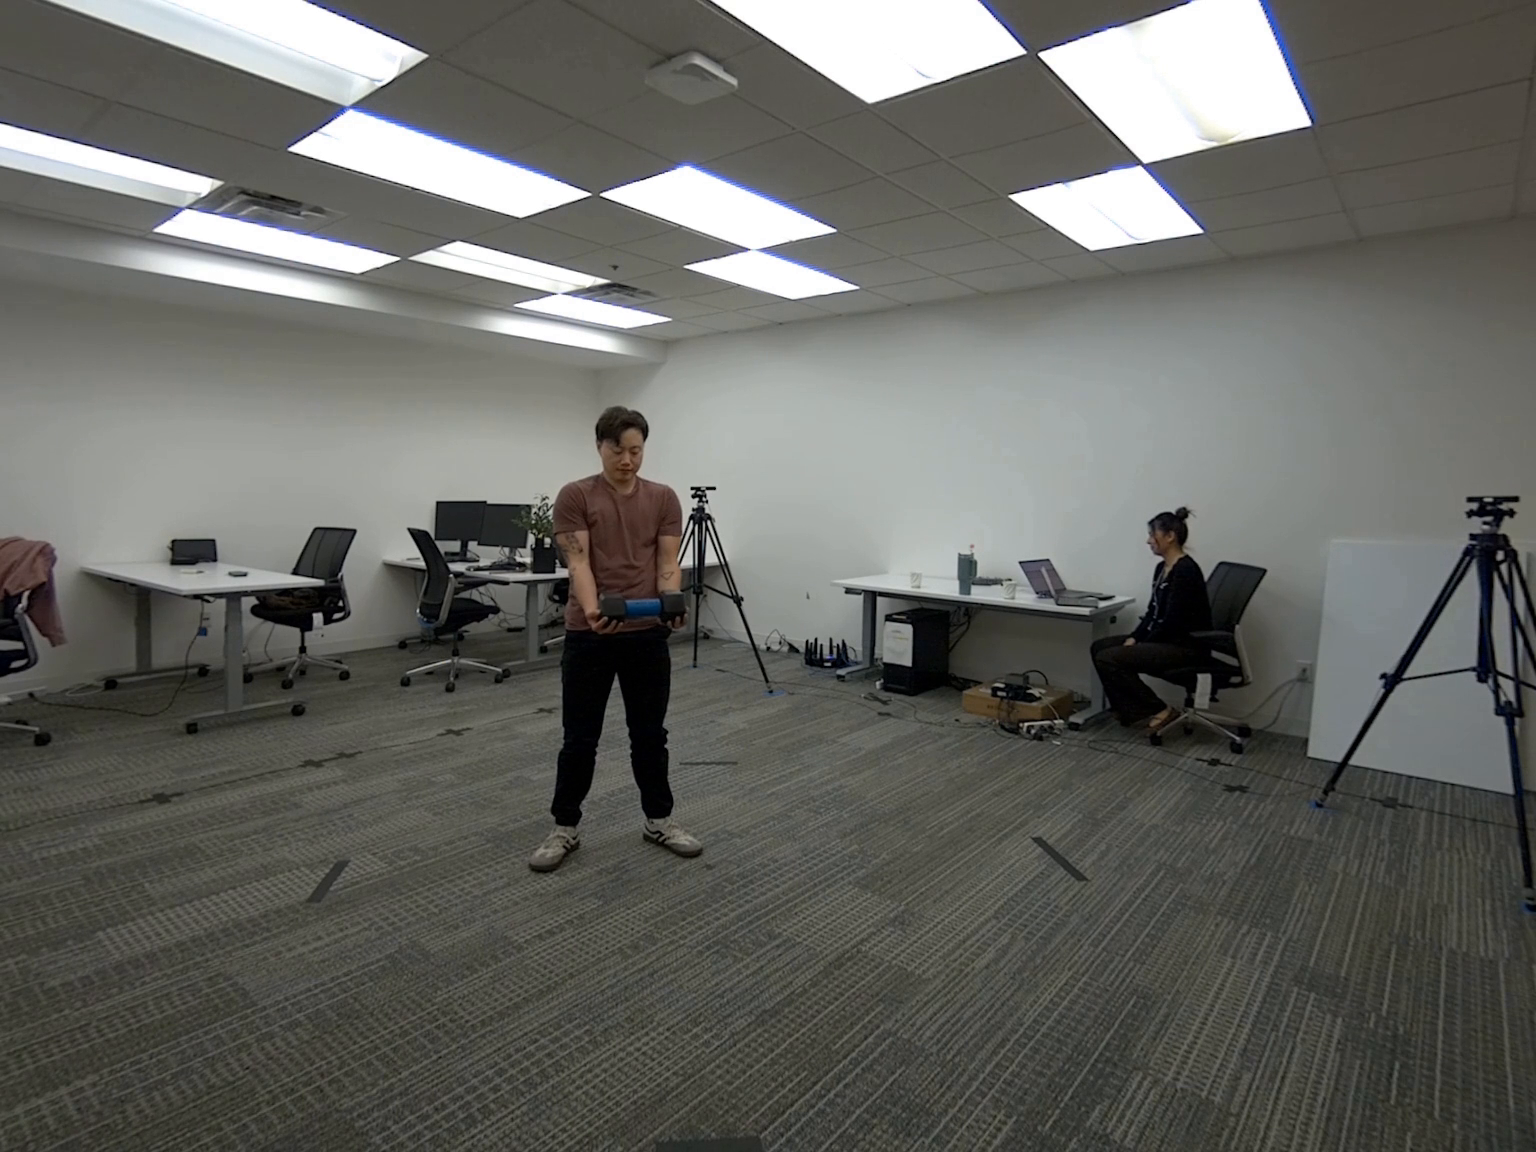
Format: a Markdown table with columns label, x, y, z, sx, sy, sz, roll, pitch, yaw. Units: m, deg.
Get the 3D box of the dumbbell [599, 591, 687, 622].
| label | x | y | z | sx | sy | sz | roll | pitch | yaw |
| --- | --- | --- | --- | --- | --- | --- | --- | --- | --- |
| dumbbell | -0.454 | 0.103 | 2.919 | 0.288 | 0.107 | 0.127 | -2 | 14 | -20 |
